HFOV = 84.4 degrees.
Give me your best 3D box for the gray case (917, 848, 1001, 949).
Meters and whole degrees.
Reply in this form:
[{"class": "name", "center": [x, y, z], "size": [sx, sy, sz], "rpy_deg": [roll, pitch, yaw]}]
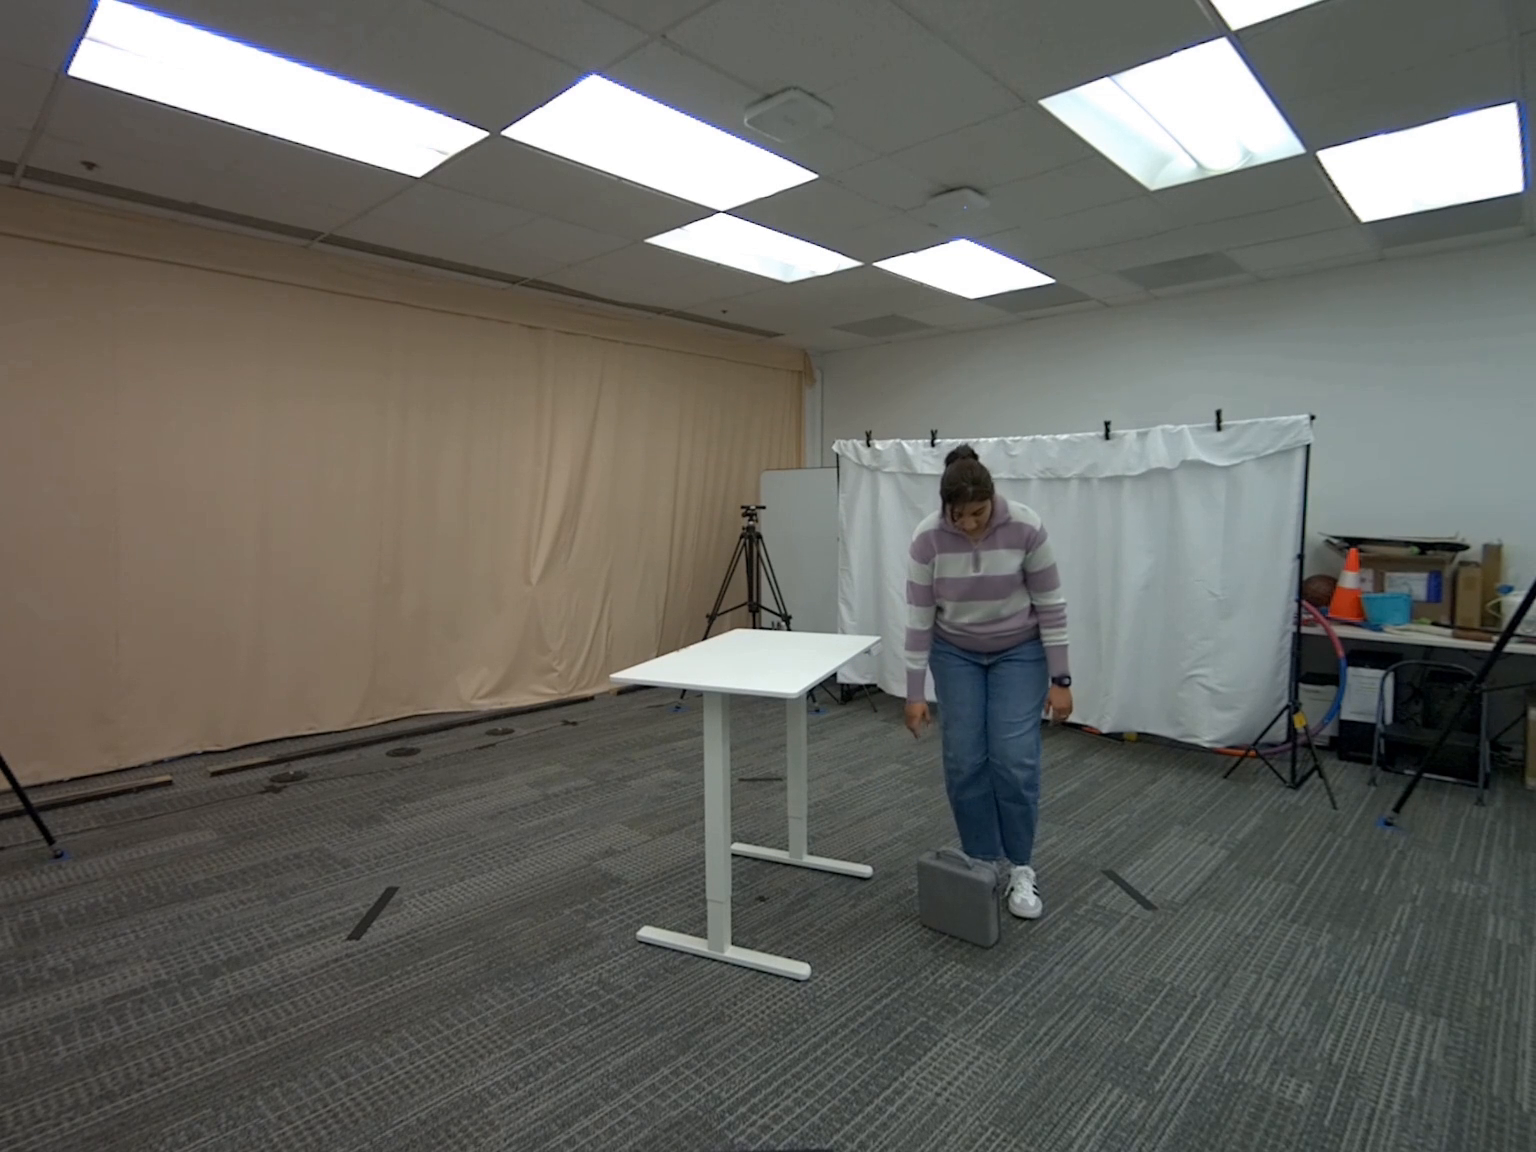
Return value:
[{"class": "gray case", "center": [0.627, 1.033, 2.715], "size": [0.265, 0.258, 0.102], "rpy_deg": [4, 14, 39]}]
